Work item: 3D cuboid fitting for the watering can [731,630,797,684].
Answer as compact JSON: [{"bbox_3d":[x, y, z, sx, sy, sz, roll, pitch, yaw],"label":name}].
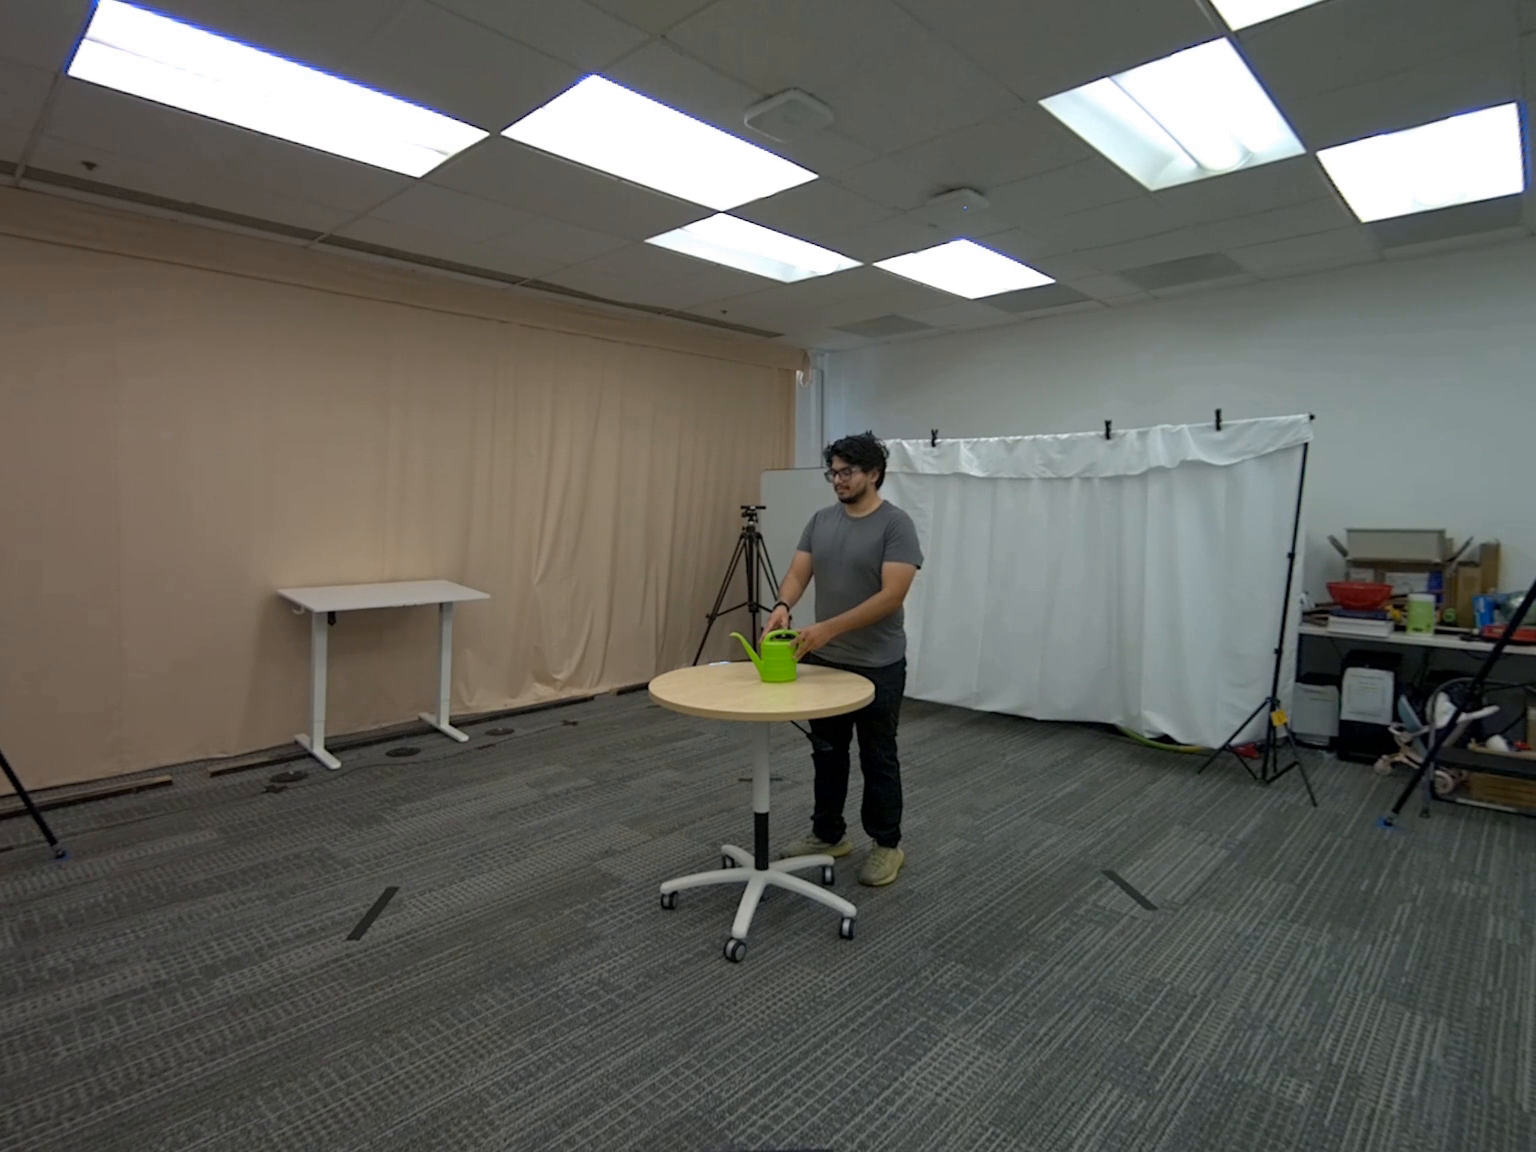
[{"bbox_3d":[-0.004,0.279,2.926,0.275,0.177,0.099,1,0,-10],"label":"watering can"}]
